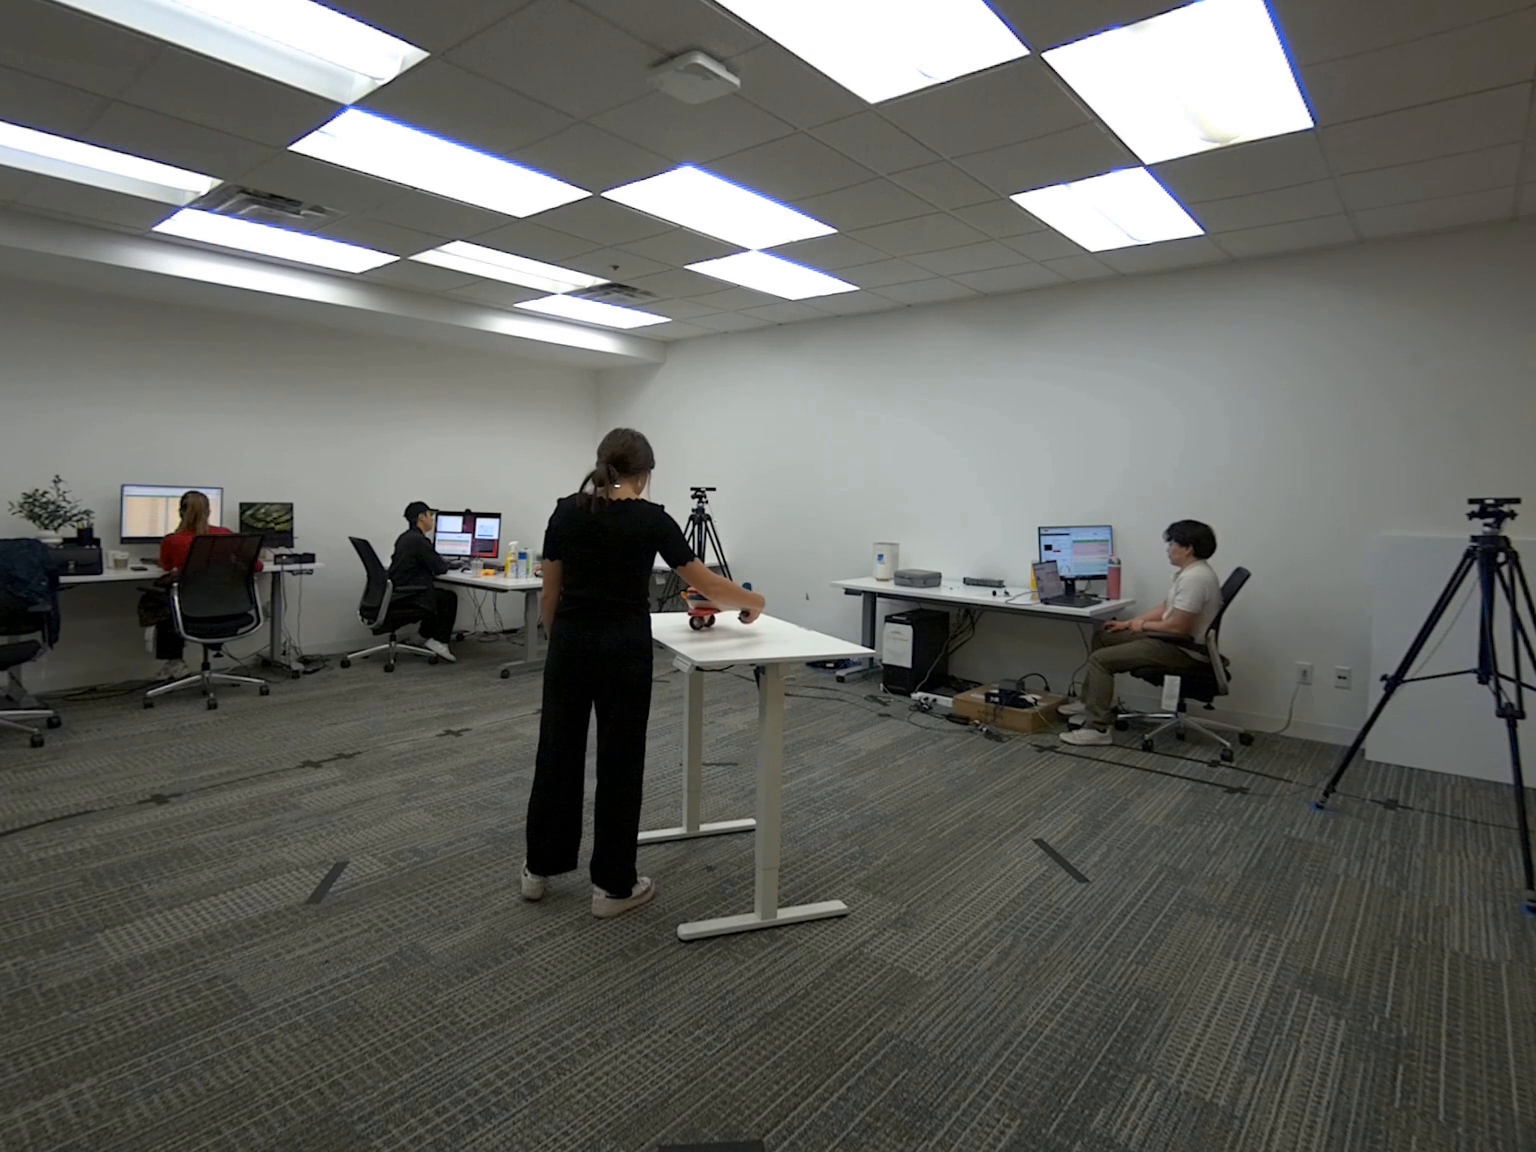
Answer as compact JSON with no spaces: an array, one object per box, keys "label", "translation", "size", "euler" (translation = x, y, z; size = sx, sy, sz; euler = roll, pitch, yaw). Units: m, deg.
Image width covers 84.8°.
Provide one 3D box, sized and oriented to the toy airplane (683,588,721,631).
[{"label":"toy airplane","translation":[-0.183,0.094,3.054],"size":[0.258,0.157,0.251],"euler":[-14,-1,-4]}]
